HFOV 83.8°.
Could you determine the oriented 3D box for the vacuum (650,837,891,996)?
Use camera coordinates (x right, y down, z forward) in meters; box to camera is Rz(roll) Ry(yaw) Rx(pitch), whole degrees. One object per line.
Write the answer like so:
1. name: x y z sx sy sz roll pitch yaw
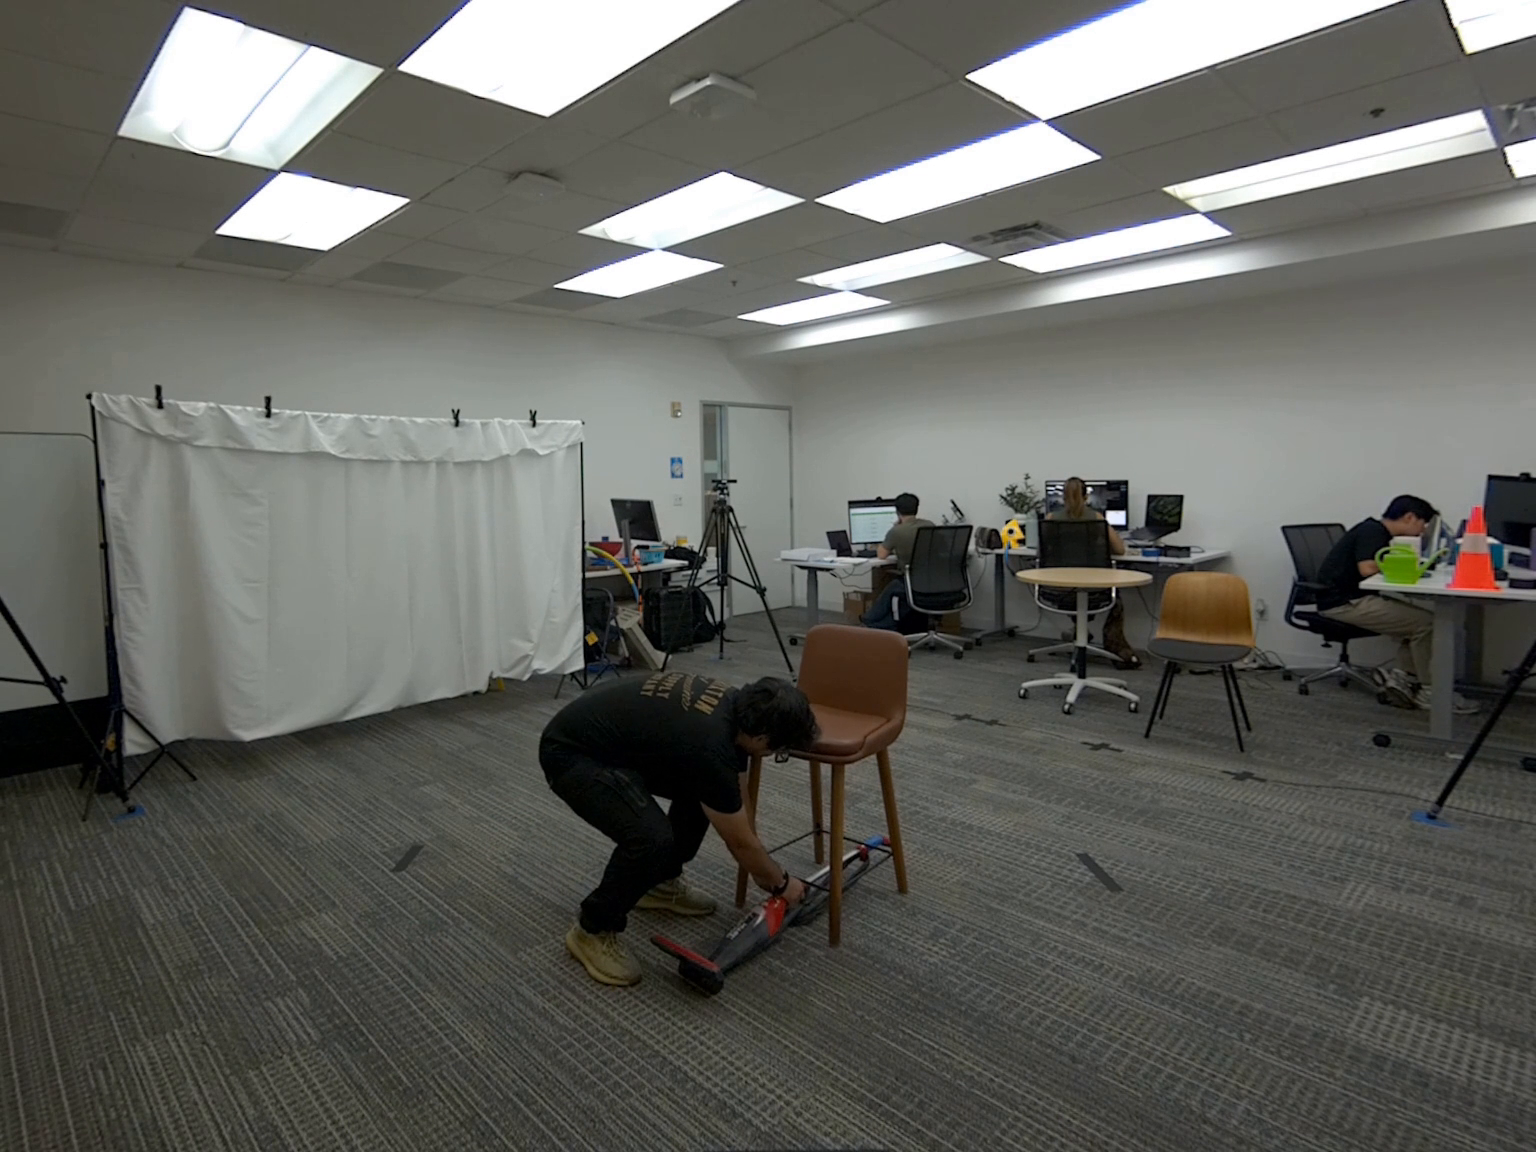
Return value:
1. vacuum: 0.126 1.033 2.726 0.260 0.143 1.022 6 9 42
